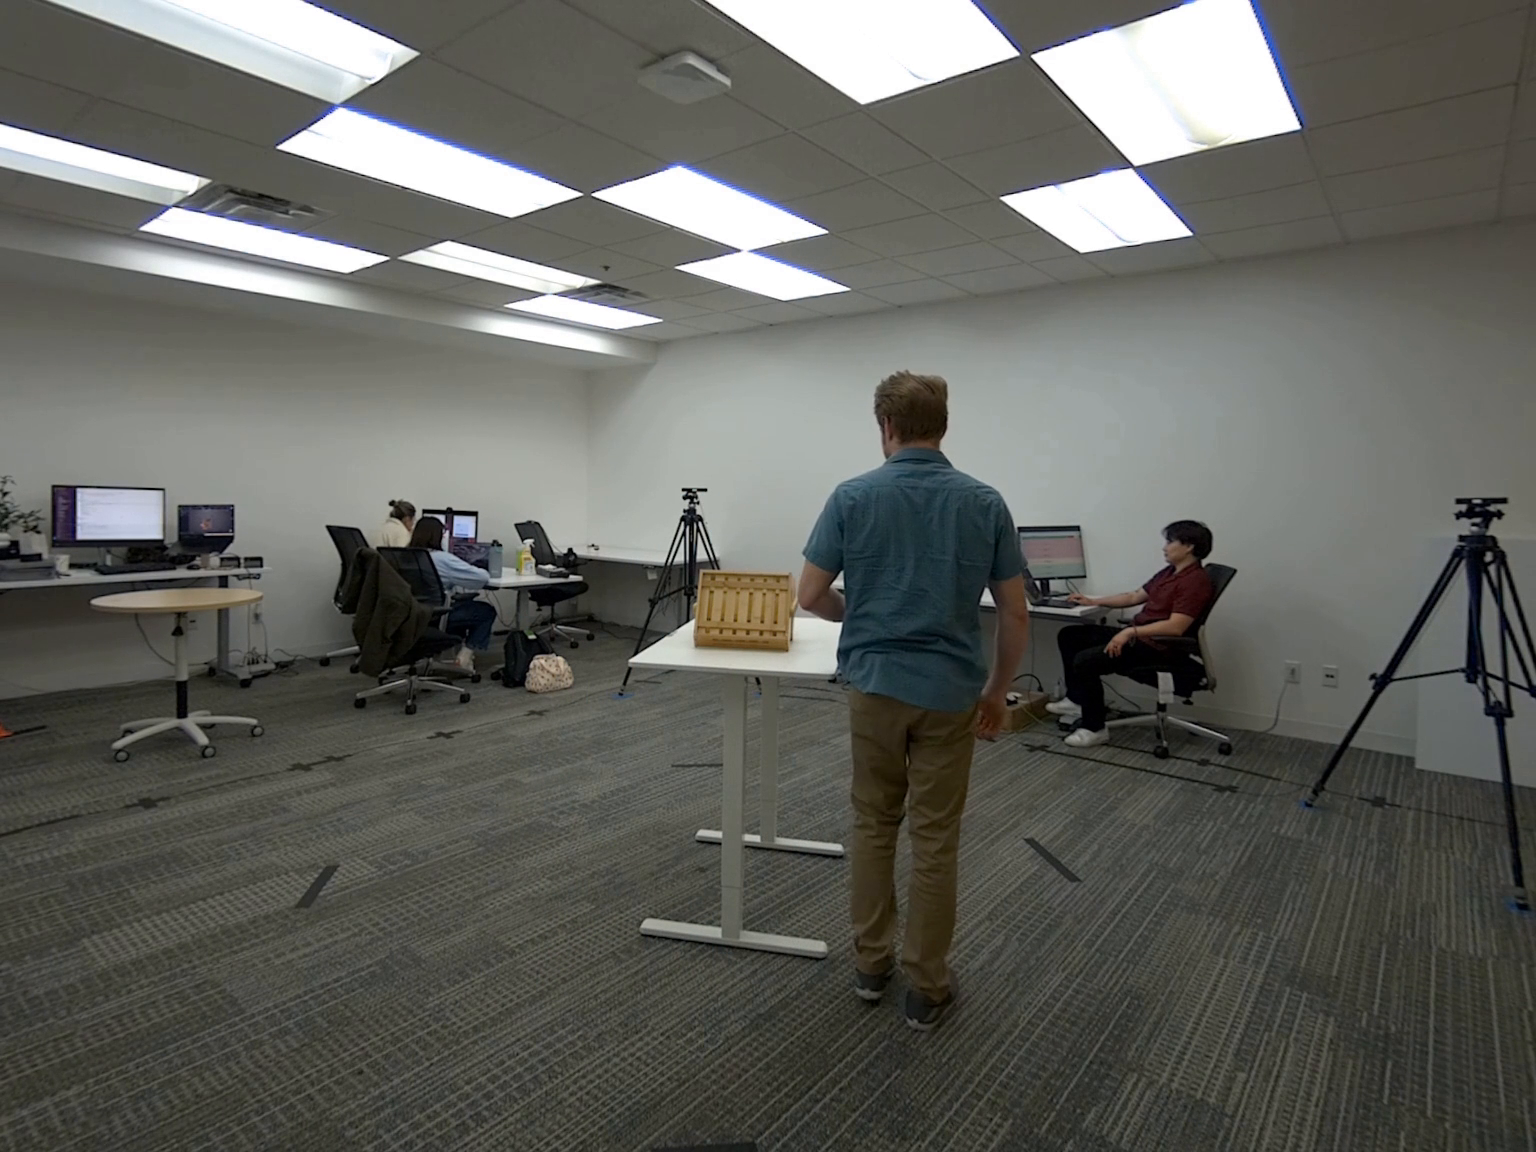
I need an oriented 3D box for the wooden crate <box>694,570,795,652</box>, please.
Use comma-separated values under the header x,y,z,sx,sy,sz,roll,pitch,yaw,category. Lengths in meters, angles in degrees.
x,y,z,sx,sy,sz,roll,pitch,yaw,category
-0.076,0.124,2.849,0.328,0.307,0.266,2,-22,8,wooden crate
